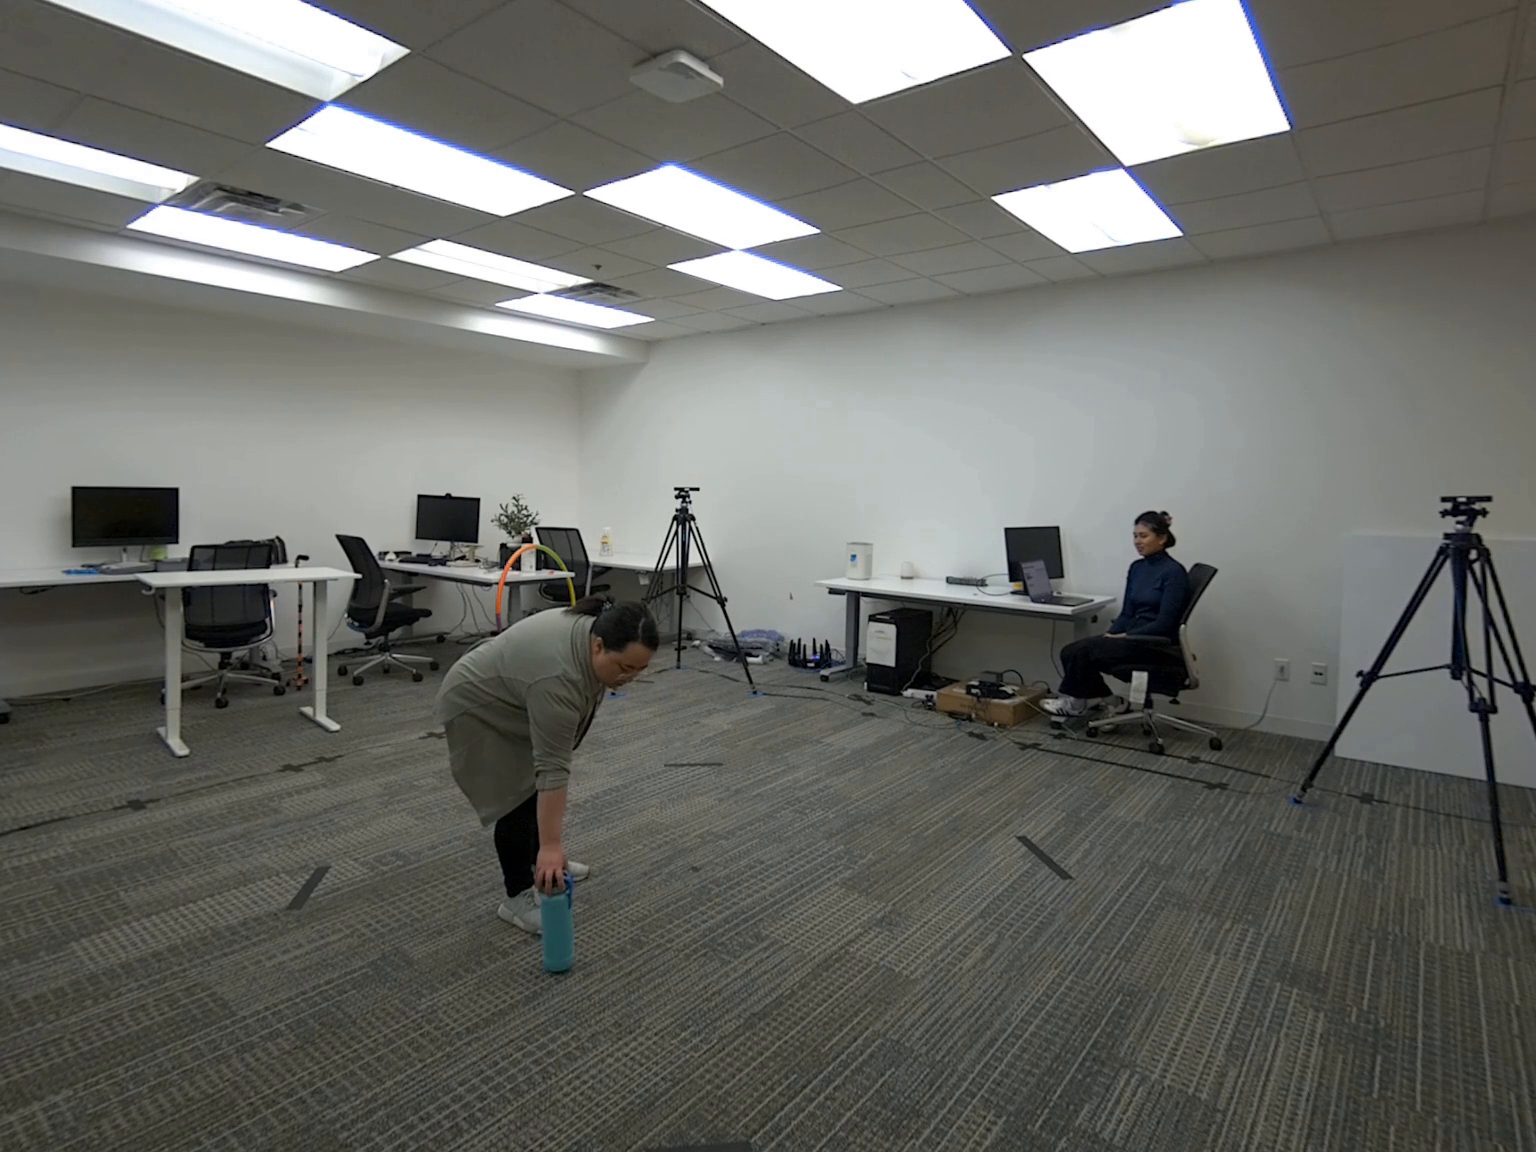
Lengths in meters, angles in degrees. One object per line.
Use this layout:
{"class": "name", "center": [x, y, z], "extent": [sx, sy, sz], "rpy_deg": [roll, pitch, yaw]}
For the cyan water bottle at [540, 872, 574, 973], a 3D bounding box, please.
{"class": "cyan water bottle", "center": [-0.607, 0.967, 2.440], "extent": [0.092, 0.281, 0.093], "rpy_deg": [-1, 7, -2]}
